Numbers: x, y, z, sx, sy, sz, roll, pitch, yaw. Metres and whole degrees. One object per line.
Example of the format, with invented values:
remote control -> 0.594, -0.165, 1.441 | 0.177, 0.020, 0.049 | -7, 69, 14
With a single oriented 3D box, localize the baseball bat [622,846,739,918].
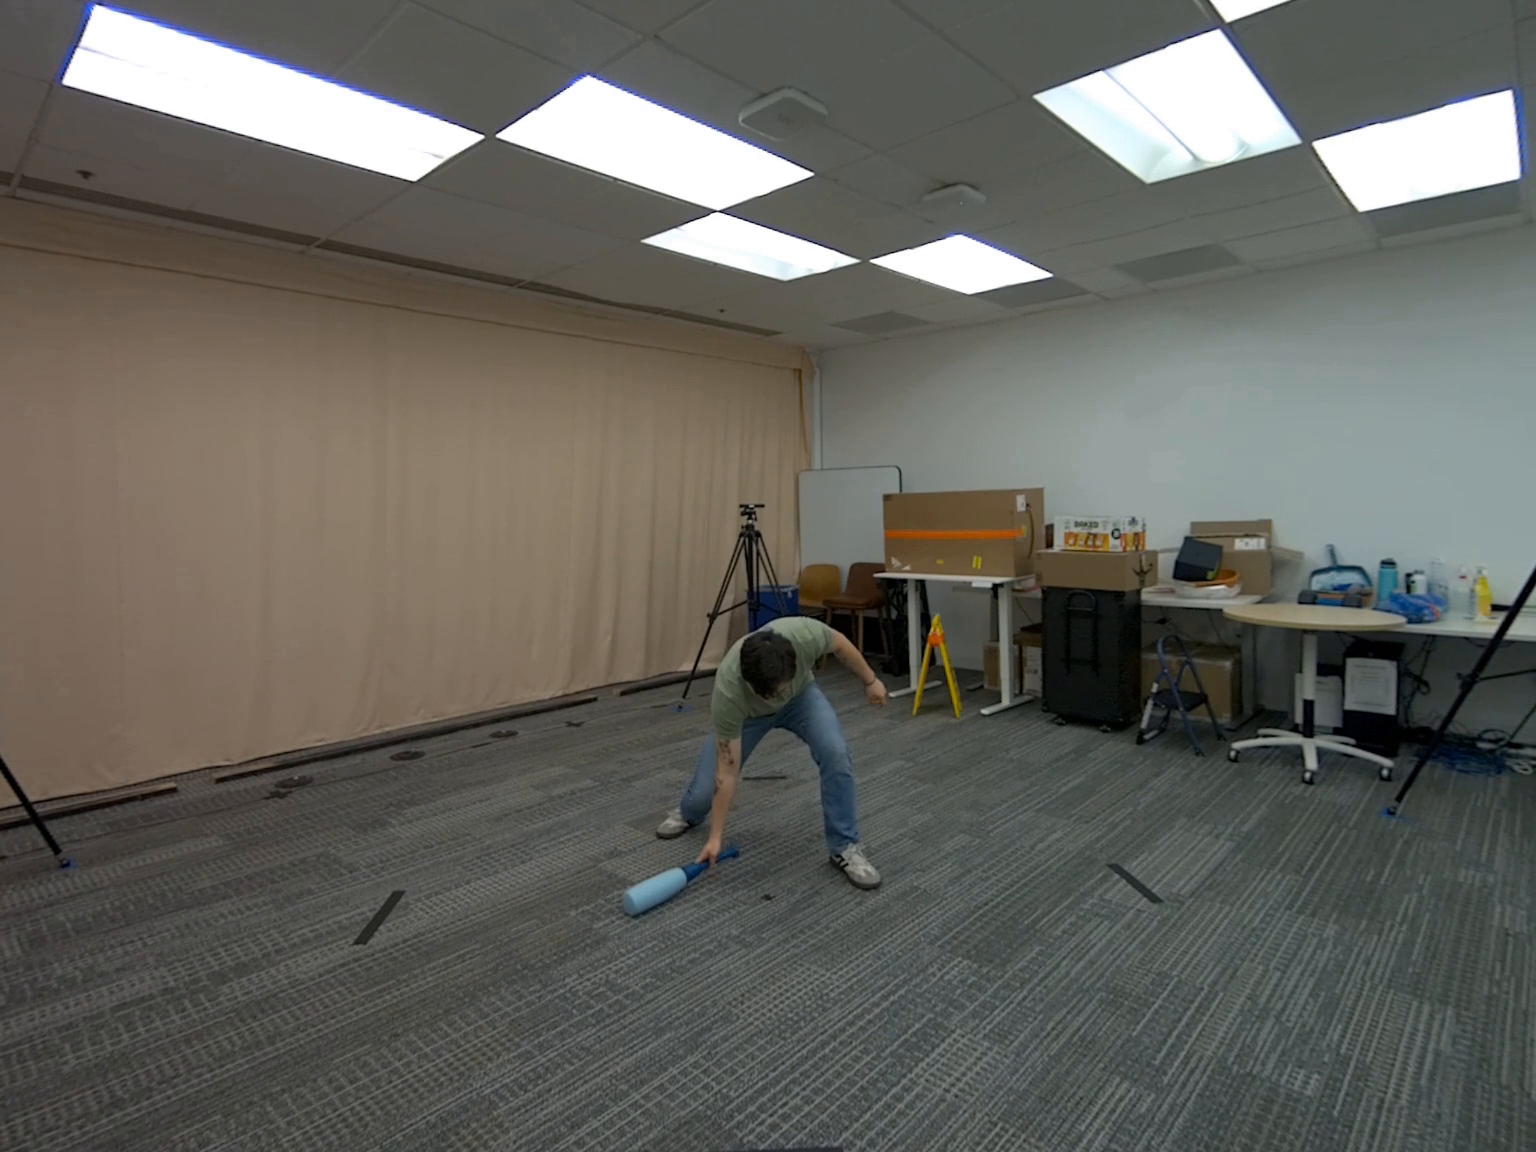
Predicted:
baseball bat -> -0.290, 1.084, 3.038 | 0.092, 0.089, 0.527 | 3, 8, 43
